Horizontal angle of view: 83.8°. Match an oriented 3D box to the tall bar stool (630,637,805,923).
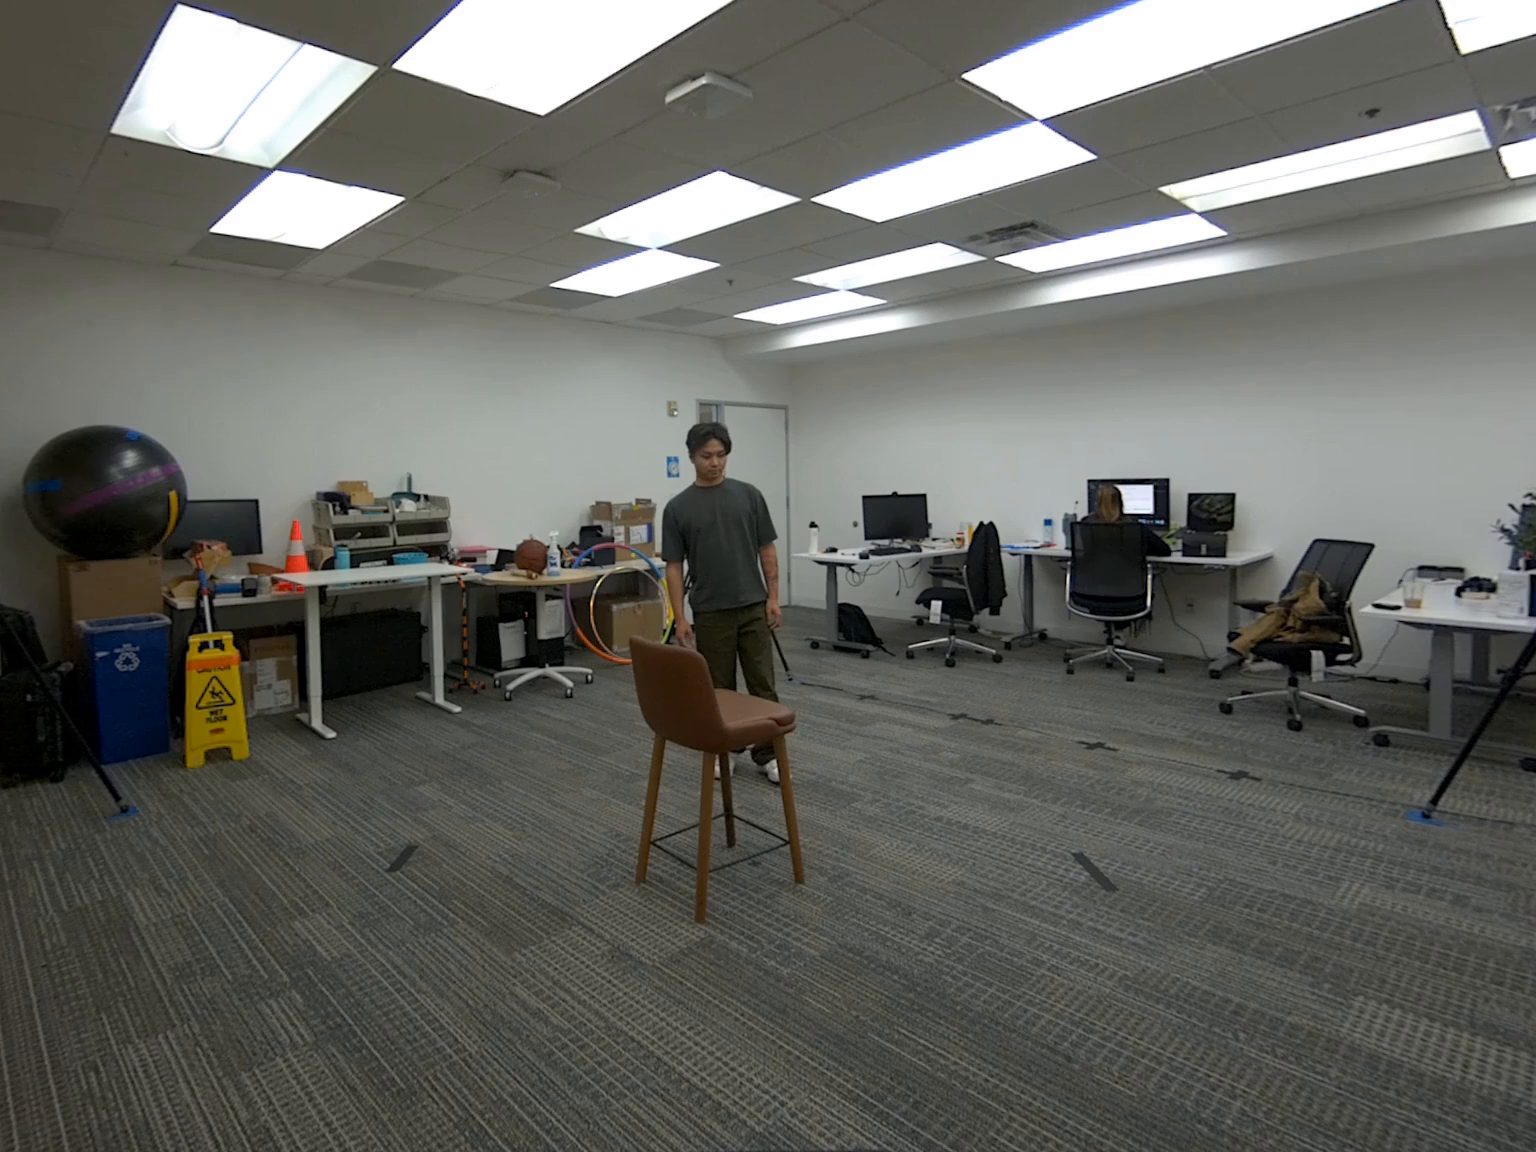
[{"bbox_3d":[-0.185,0.633,2.940,0.456,0.885,0.470,-7,7,-40],"label":"tall bar stool"}]
